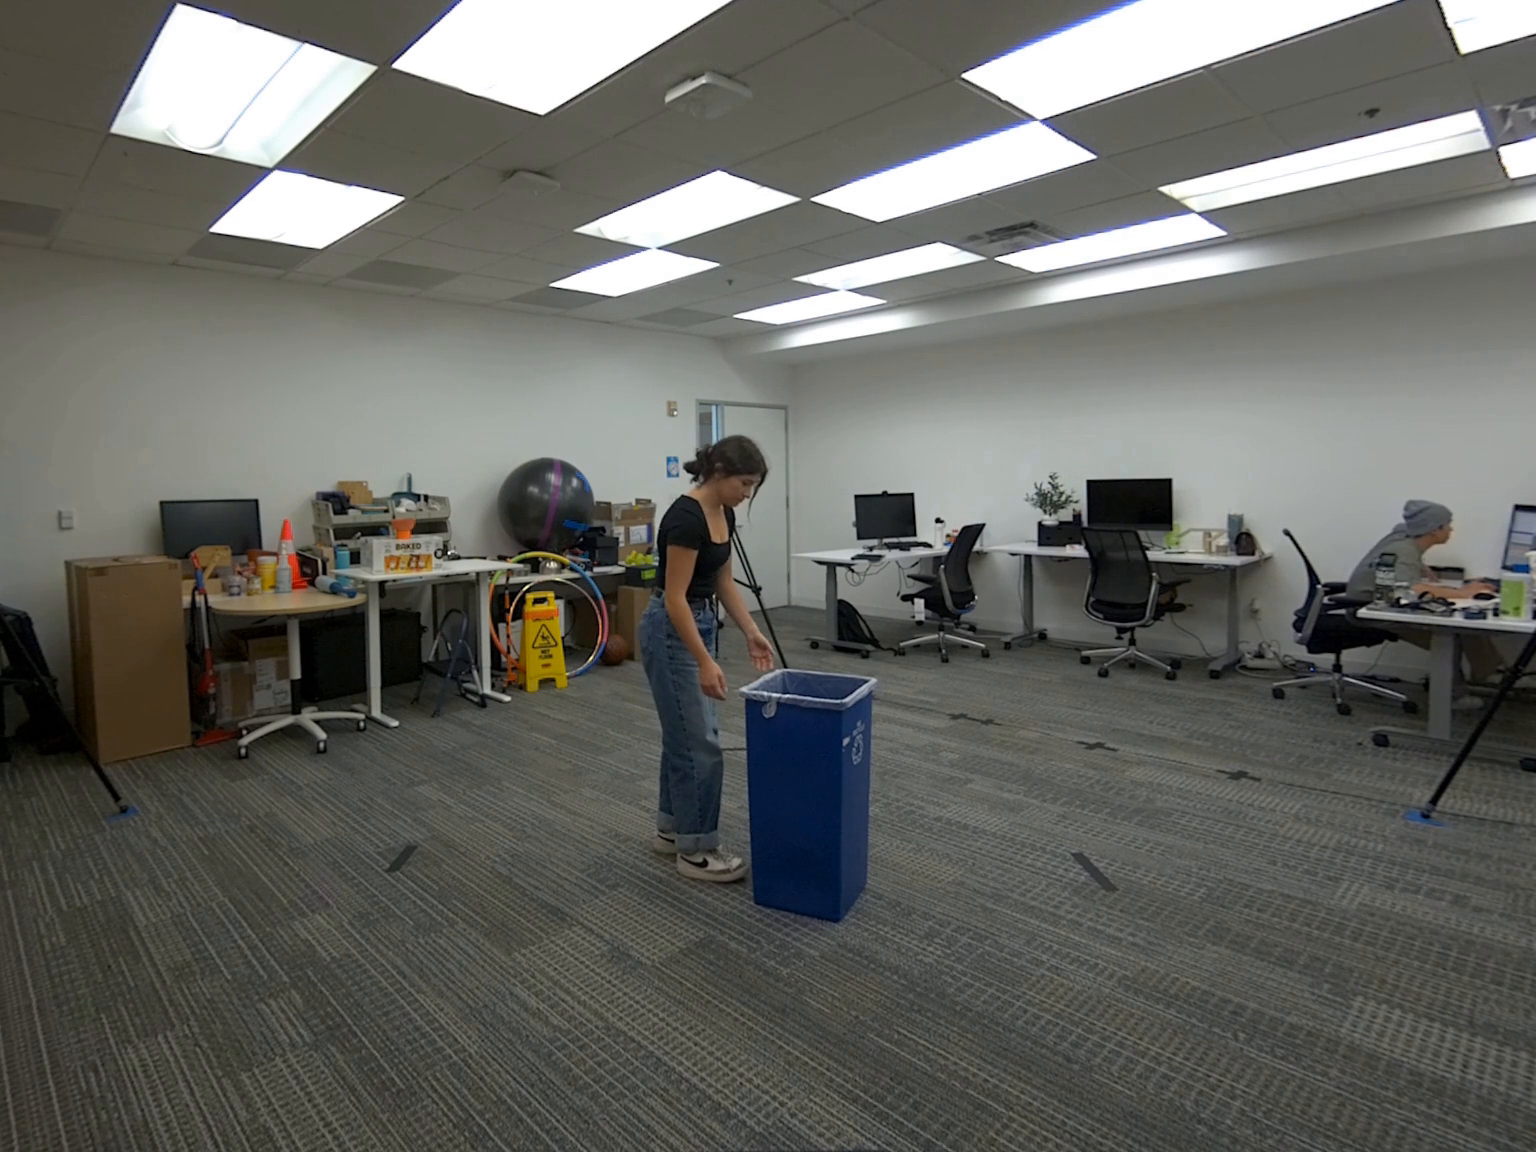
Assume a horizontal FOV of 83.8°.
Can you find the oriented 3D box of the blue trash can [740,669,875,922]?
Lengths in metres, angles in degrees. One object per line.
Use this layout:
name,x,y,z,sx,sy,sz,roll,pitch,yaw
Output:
blue trash can,0.148,0.714,2.857,0.387,0.711,0.367,1,5,25
